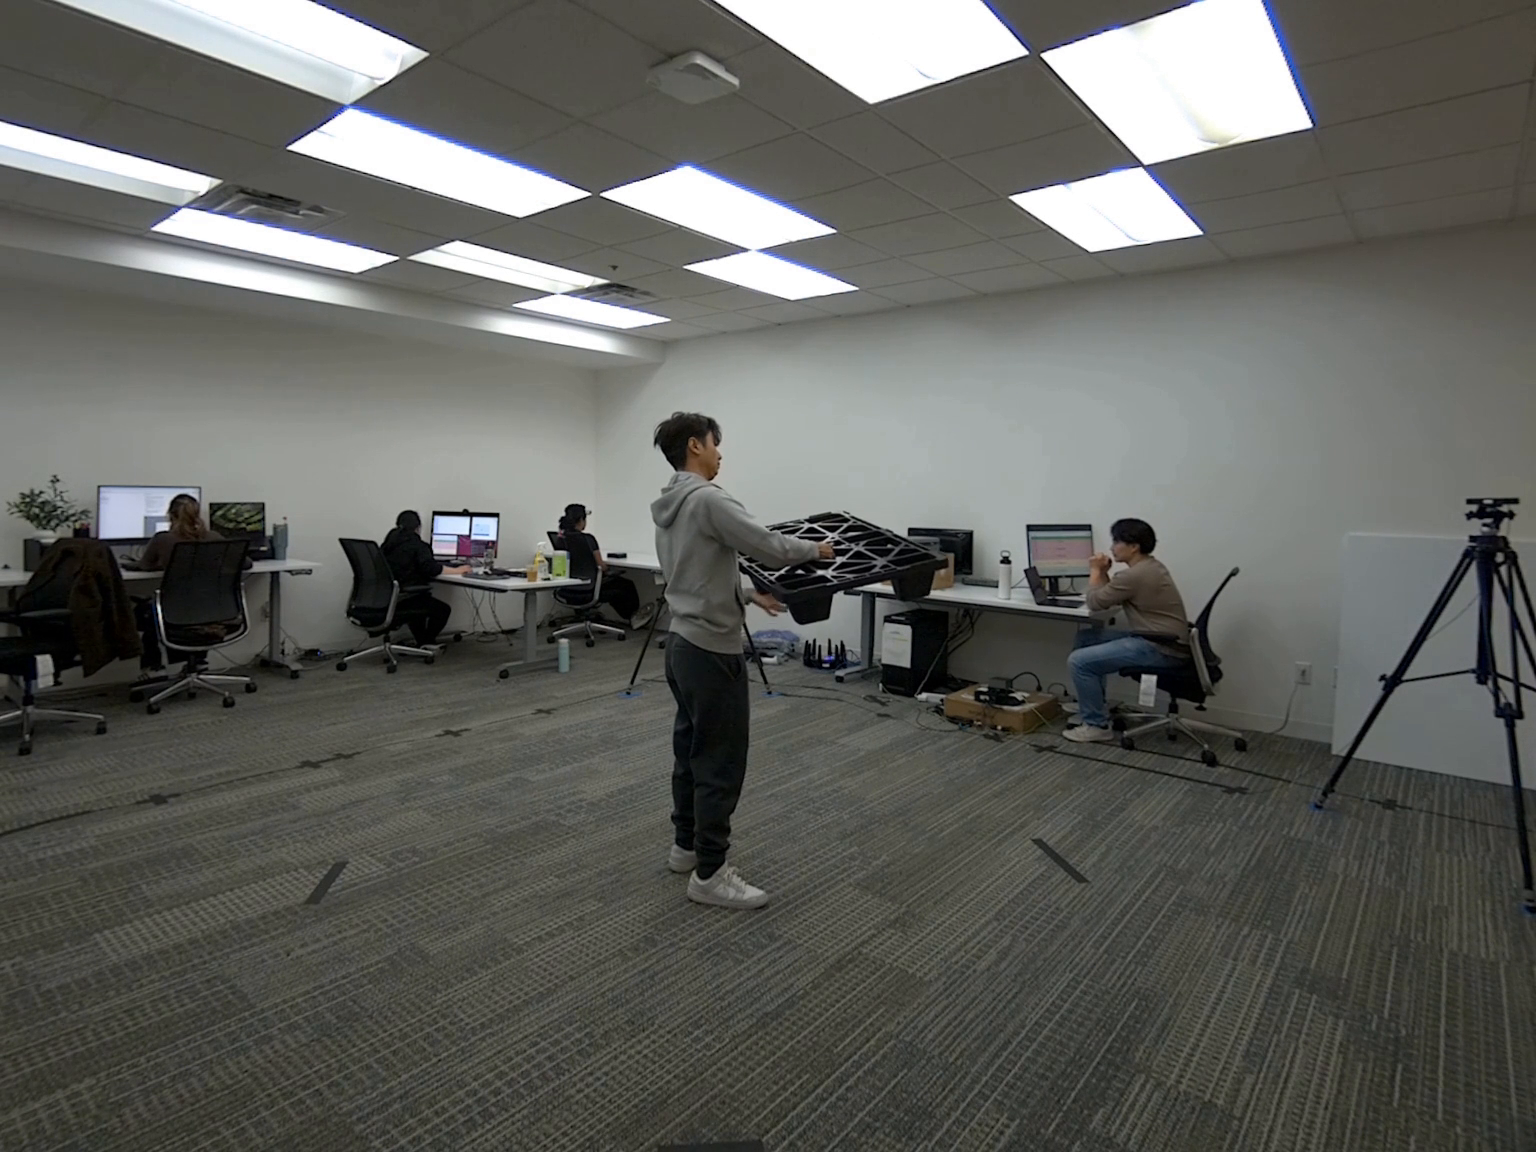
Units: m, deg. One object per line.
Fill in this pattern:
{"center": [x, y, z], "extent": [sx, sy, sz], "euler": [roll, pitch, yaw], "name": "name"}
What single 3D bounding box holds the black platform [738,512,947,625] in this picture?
{"center": [0.170, -0.046, 3.086], "extent": [0.597, 0.141, 0.831], "euler": [-12, 20, -16], "name": "black platform"}
